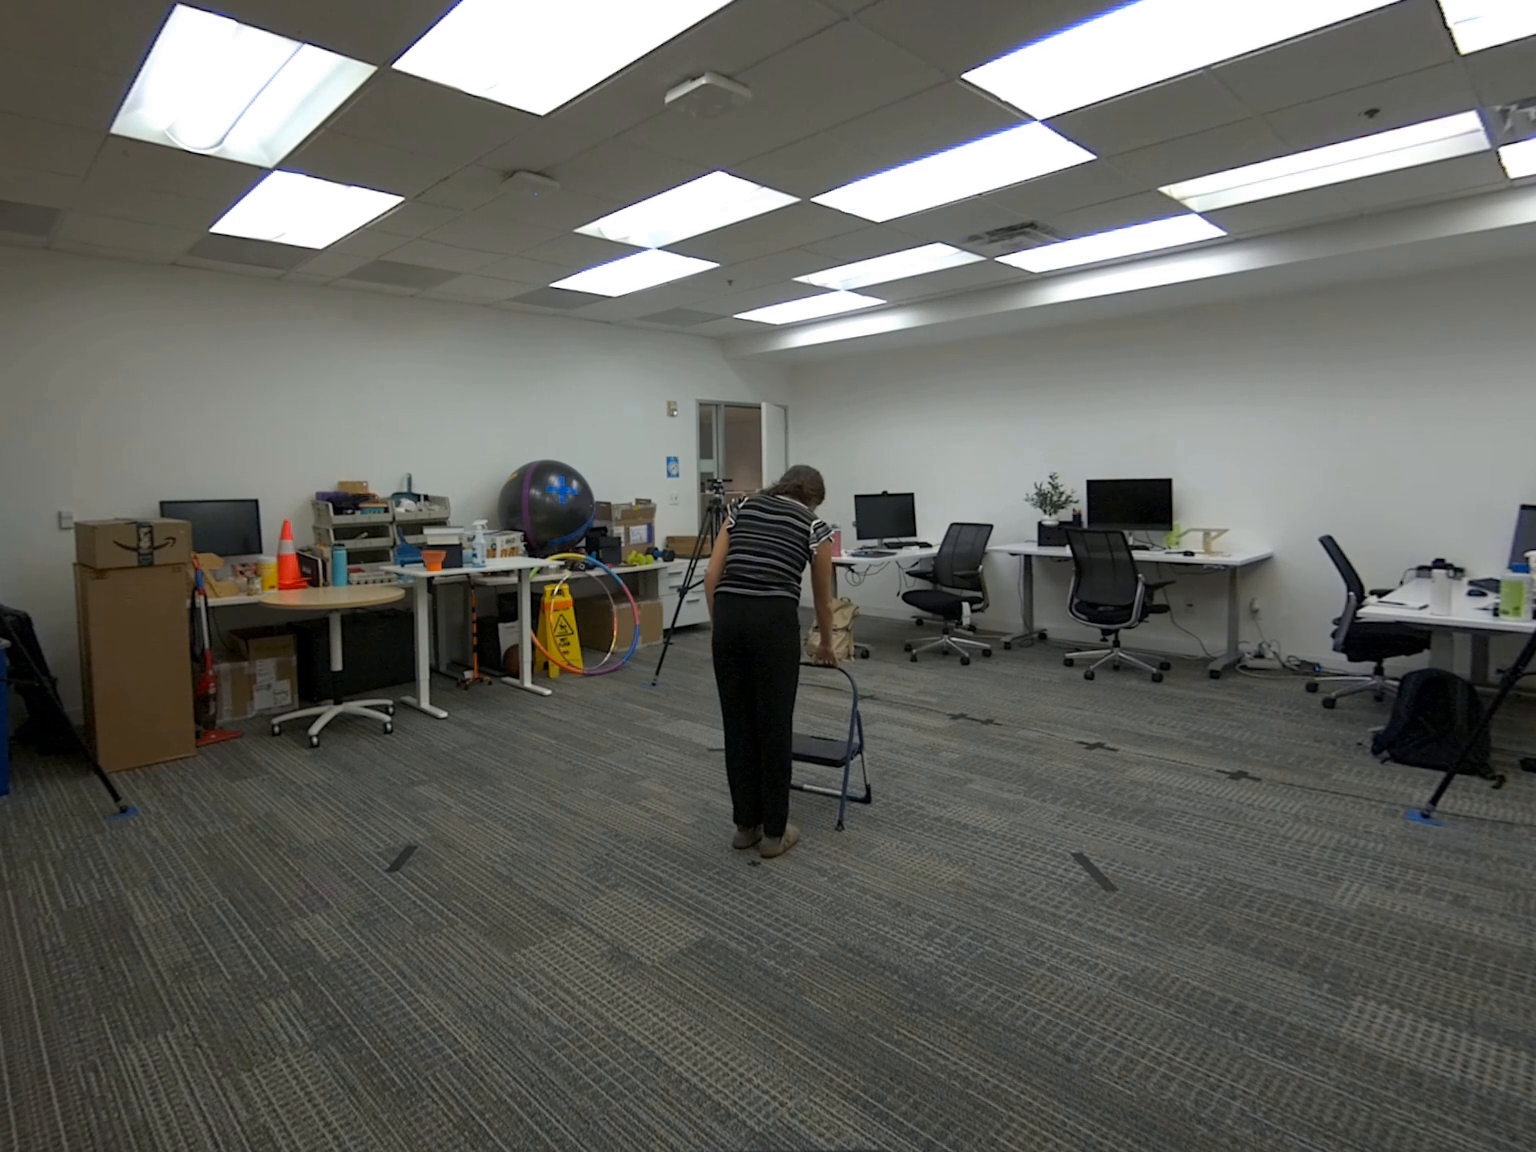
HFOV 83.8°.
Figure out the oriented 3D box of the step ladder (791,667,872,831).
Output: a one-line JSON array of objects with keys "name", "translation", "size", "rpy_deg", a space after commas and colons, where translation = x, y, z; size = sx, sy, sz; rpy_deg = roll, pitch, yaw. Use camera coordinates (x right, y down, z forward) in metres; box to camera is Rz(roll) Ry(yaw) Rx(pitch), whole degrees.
[{"name": "step ladder", "translation": [0.185, 0.683, 3.616], "size": [0.442, 0.603, 0.341], "rpy_deg": [2, 5, 30]}]
